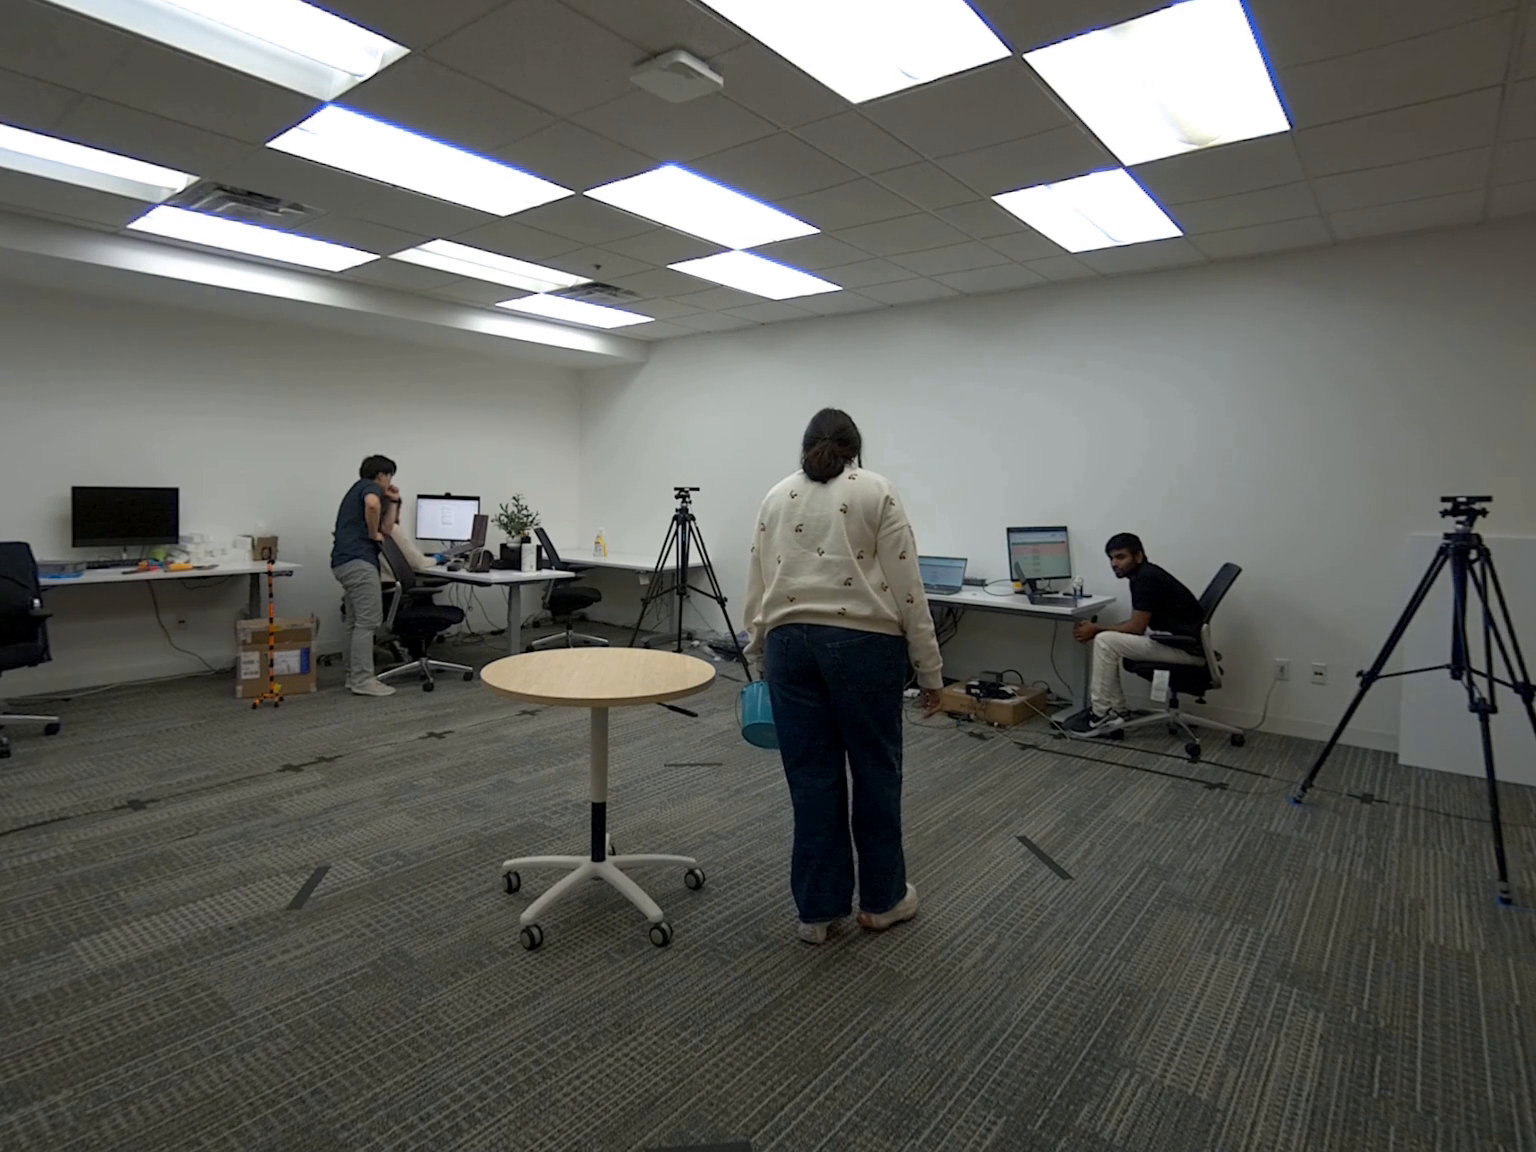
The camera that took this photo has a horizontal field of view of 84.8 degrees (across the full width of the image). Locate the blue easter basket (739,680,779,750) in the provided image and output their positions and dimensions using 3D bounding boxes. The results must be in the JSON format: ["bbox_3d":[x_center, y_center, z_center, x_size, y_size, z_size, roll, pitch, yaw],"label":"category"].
[{"bbox_3d":[0.003,0.492,2.958,0.245,0.159,0.237,6,-41,4],"label":"blue easter basket"}]
